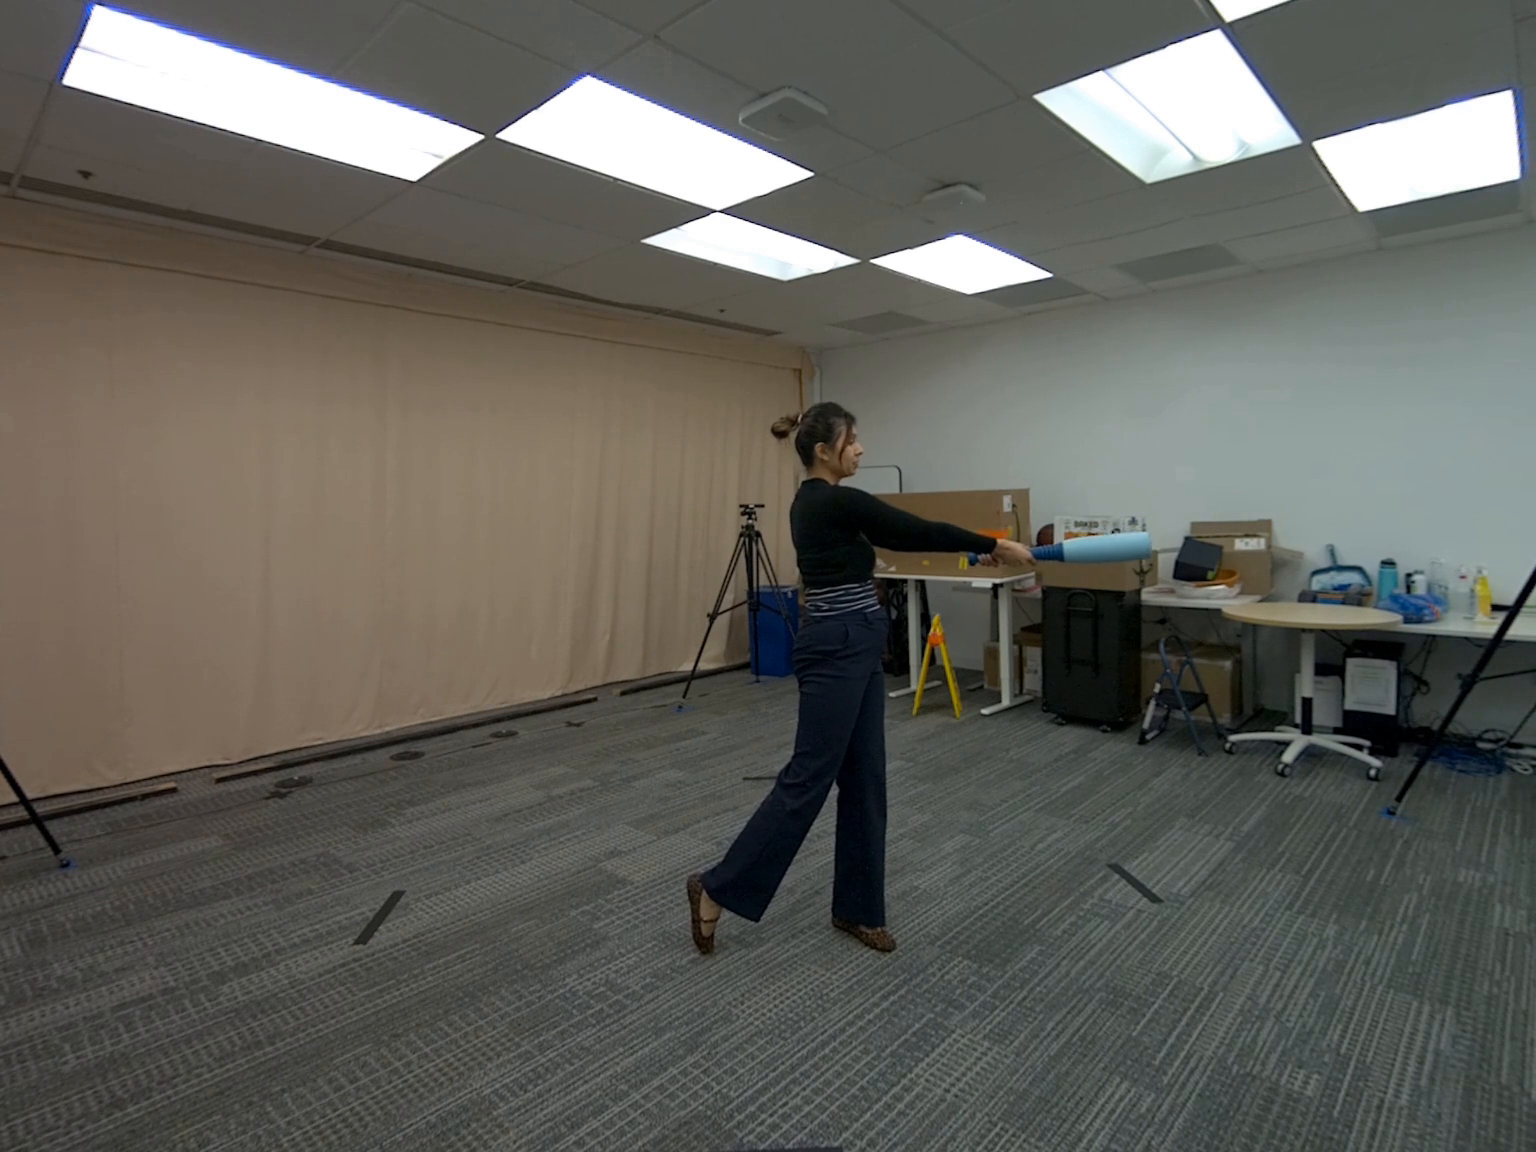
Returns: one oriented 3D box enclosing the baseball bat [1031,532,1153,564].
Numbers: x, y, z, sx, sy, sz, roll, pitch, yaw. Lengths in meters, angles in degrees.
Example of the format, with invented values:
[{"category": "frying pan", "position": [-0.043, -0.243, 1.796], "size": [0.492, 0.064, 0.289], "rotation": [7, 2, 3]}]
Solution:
[{"category": "baseball bat", "position": [0.927, -0.062, 2.654], "size": [0.554, 0.089, 0.087], "rotation": [-4, 3, 21]}]
